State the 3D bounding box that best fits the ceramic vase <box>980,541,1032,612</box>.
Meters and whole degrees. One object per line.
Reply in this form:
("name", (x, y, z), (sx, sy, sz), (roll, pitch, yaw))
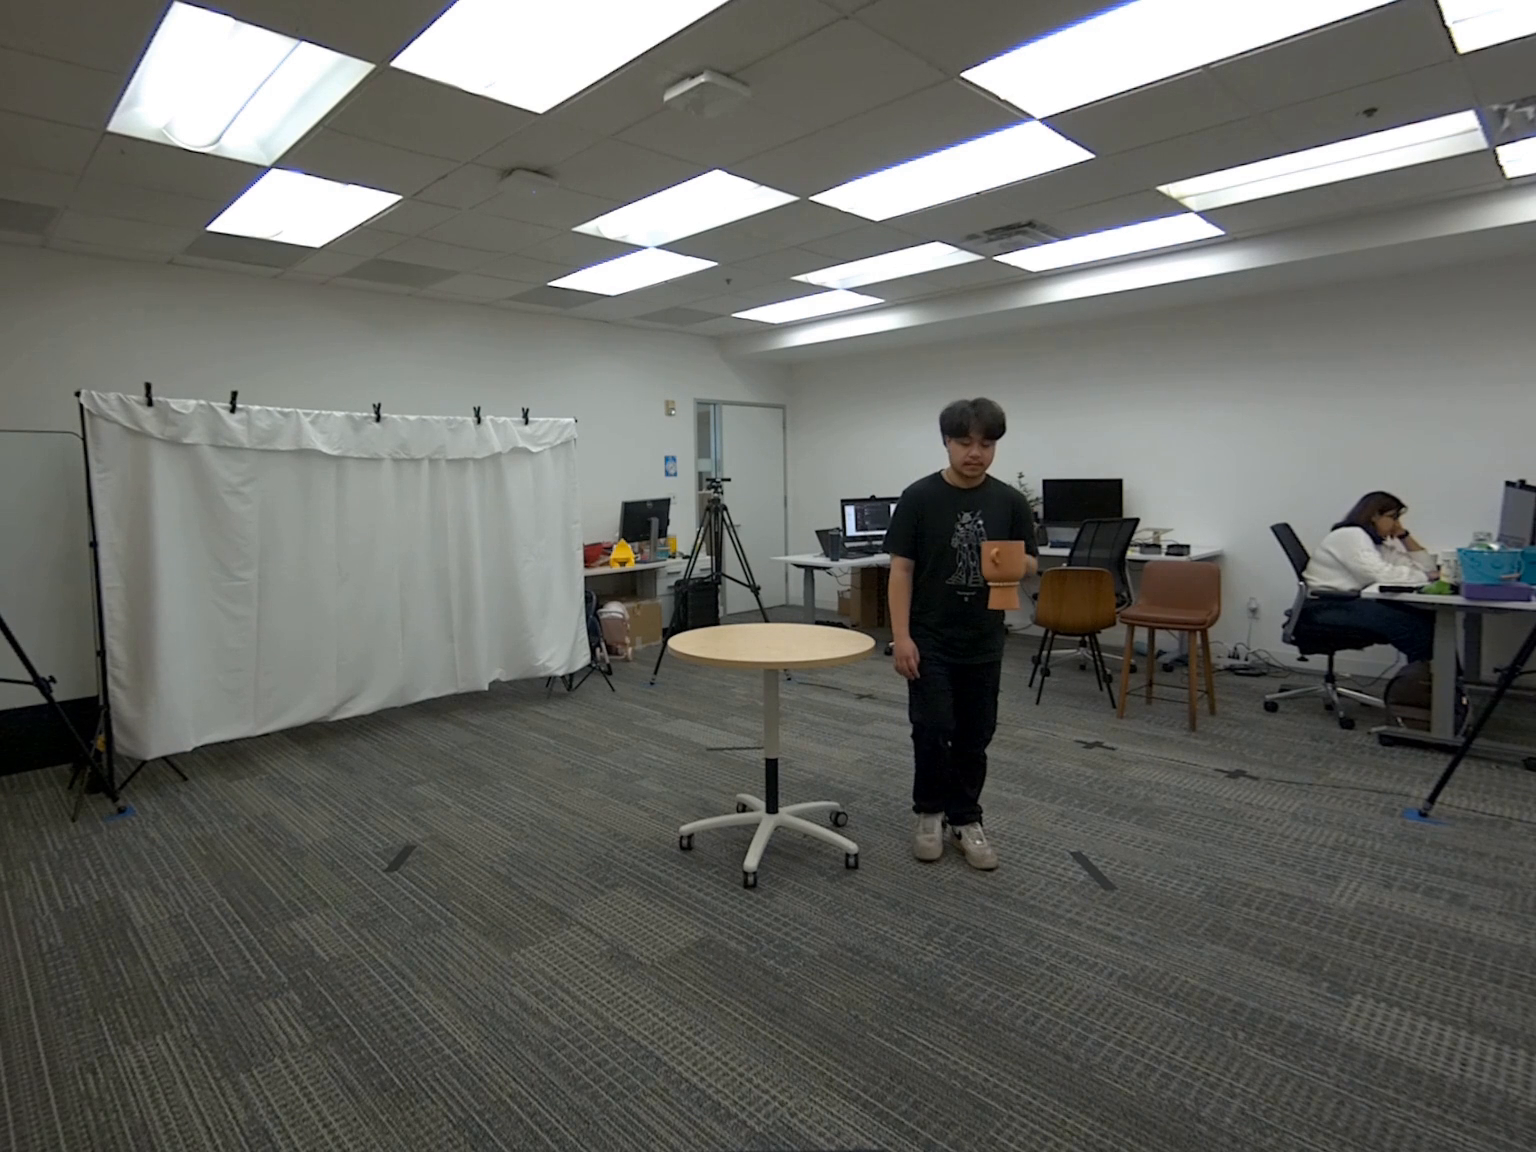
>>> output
("ceramic vase", (0.772, -0.002, 2.783), (0.156, 0.220, 0.136), (0, -1, -16))
